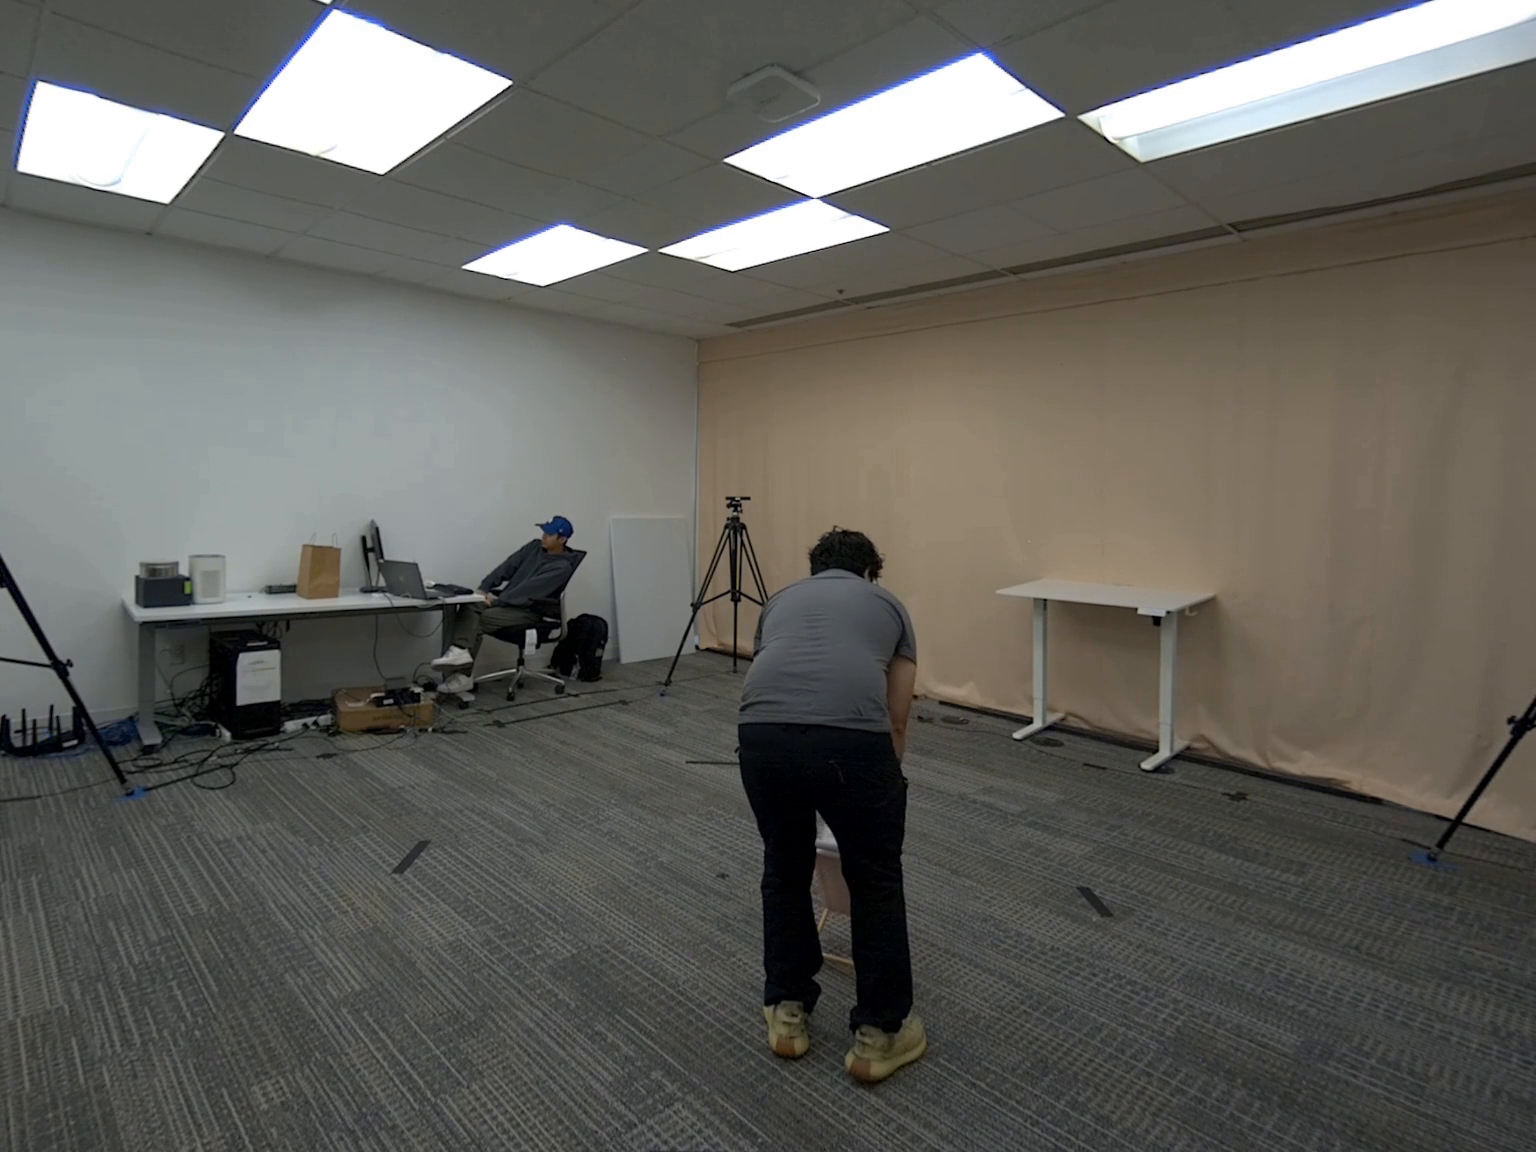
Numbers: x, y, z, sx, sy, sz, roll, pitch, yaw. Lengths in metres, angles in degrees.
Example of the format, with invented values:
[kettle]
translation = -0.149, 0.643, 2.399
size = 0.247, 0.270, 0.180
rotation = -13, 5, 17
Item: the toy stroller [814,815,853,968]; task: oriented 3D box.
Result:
[toy stroller]
translation = 0.263, 0.945, 2.567
size = 0.287, 0.527, 0.339
rotation = 4, 20, 27
